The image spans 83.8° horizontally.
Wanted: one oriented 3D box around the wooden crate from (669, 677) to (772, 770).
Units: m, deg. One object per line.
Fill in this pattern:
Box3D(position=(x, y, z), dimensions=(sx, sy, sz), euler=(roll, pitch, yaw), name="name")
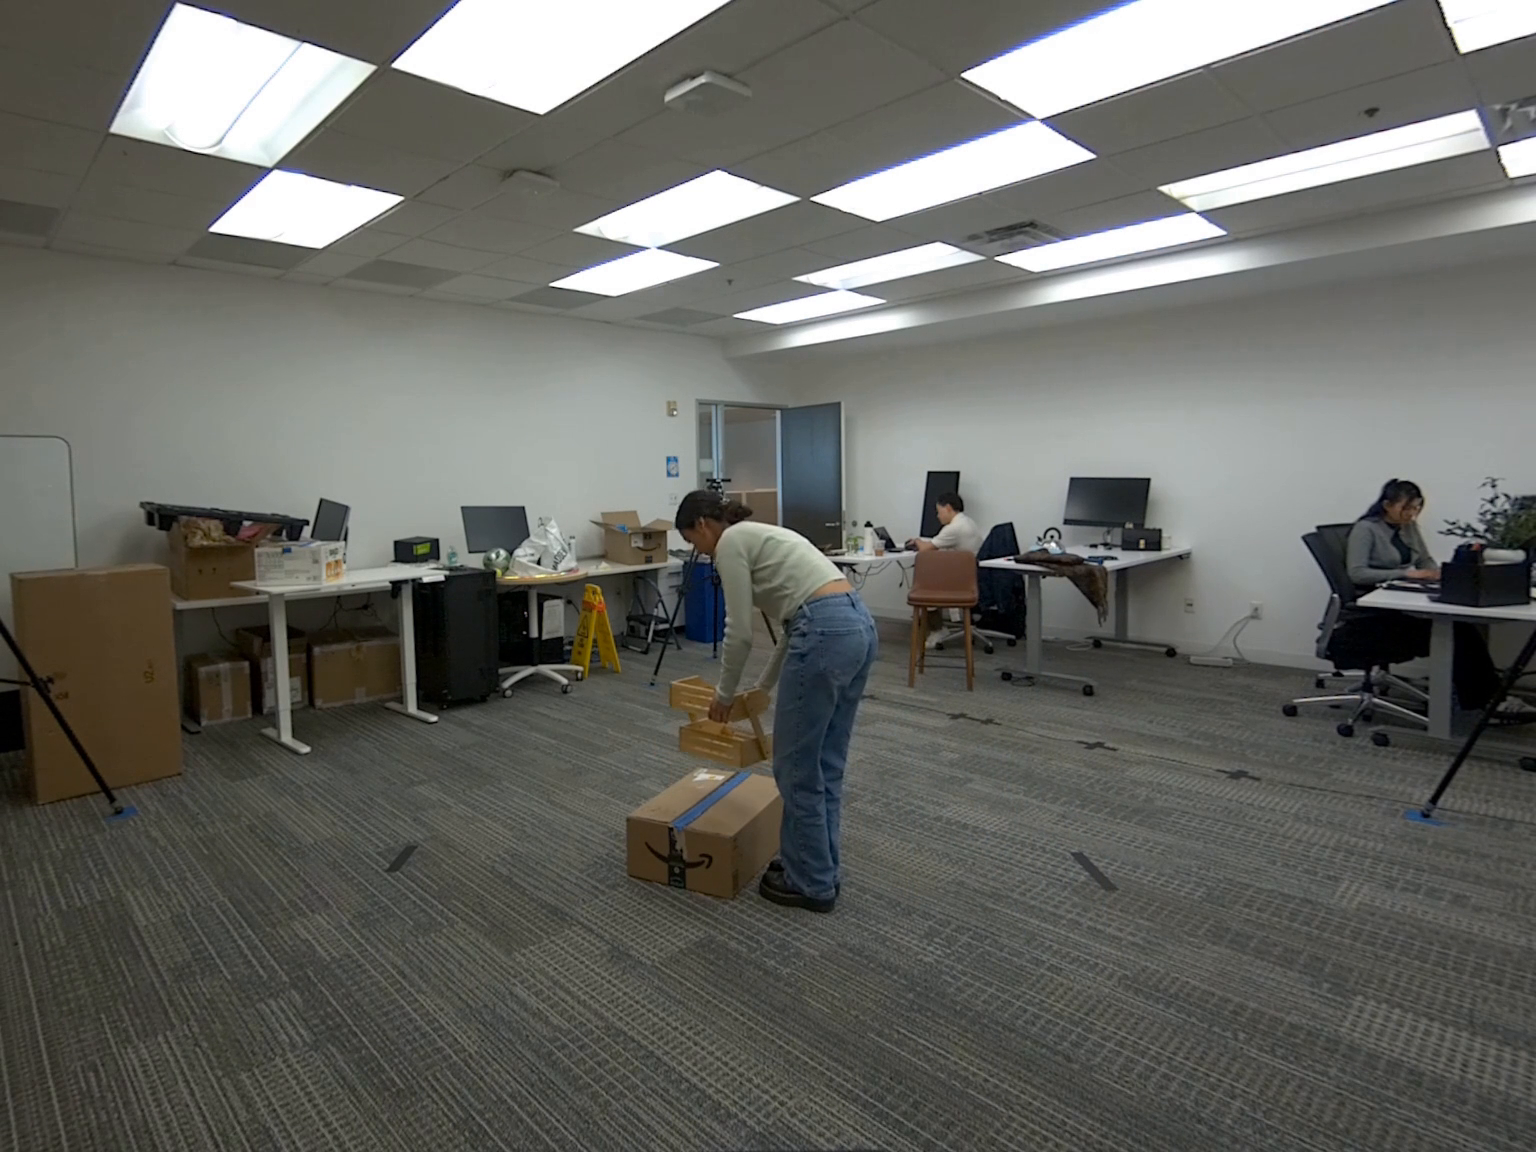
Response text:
Box3D(position=(-0.143, 0.506, 3.087), dimensions=(0.334, 0.272, 0.294), euler=(4, 6, 39), name="wooden crate")
